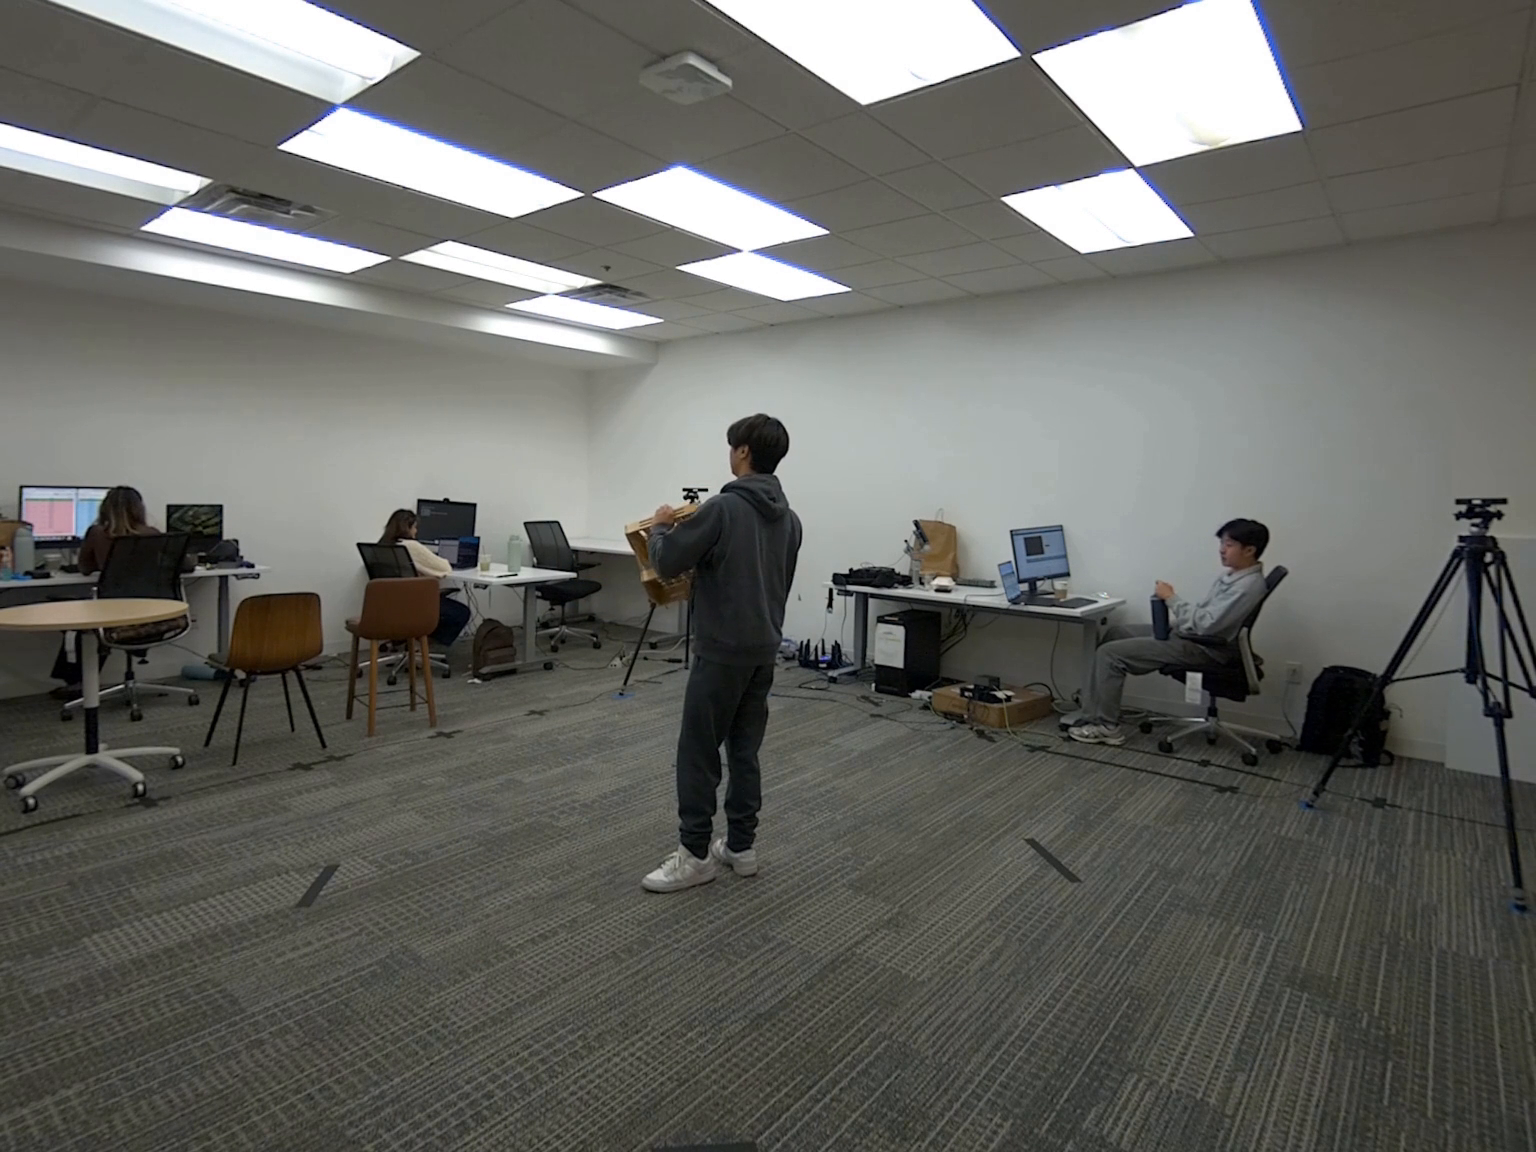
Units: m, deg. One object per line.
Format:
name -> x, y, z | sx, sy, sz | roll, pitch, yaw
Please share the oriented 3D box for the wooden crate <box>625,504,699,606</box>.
wooden crate -> -0.359, -0.081, 3.290 | 0.326, 0.280, 0.293 | -18, -21, 7
